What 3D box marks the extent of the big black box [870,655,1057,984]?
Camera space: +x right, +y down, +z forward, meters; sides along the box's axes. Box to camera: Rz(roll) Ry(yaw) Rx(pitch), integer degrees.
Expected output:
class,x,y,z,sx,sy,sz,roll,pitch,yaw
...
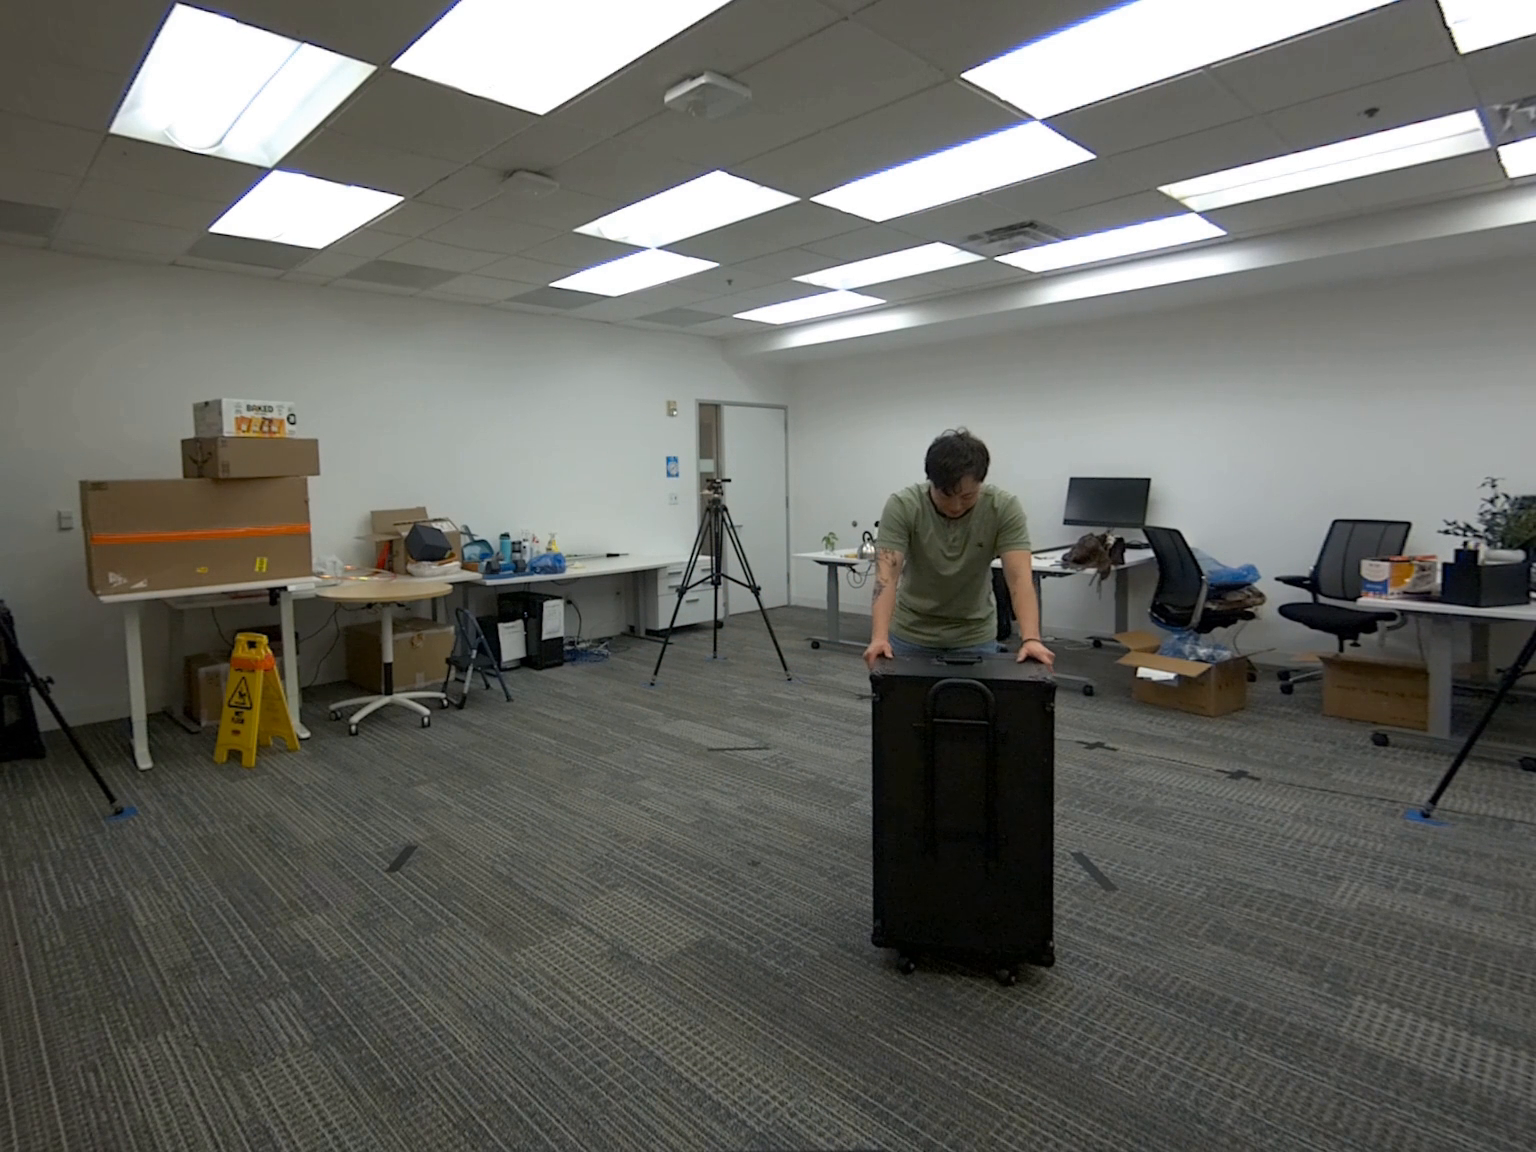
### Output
class,x,y,z,sx,sy,sz,roll,pitch,yaw
big black box,0.565,0.682,2.485,0.528,0.858,0.393,0,4,13
